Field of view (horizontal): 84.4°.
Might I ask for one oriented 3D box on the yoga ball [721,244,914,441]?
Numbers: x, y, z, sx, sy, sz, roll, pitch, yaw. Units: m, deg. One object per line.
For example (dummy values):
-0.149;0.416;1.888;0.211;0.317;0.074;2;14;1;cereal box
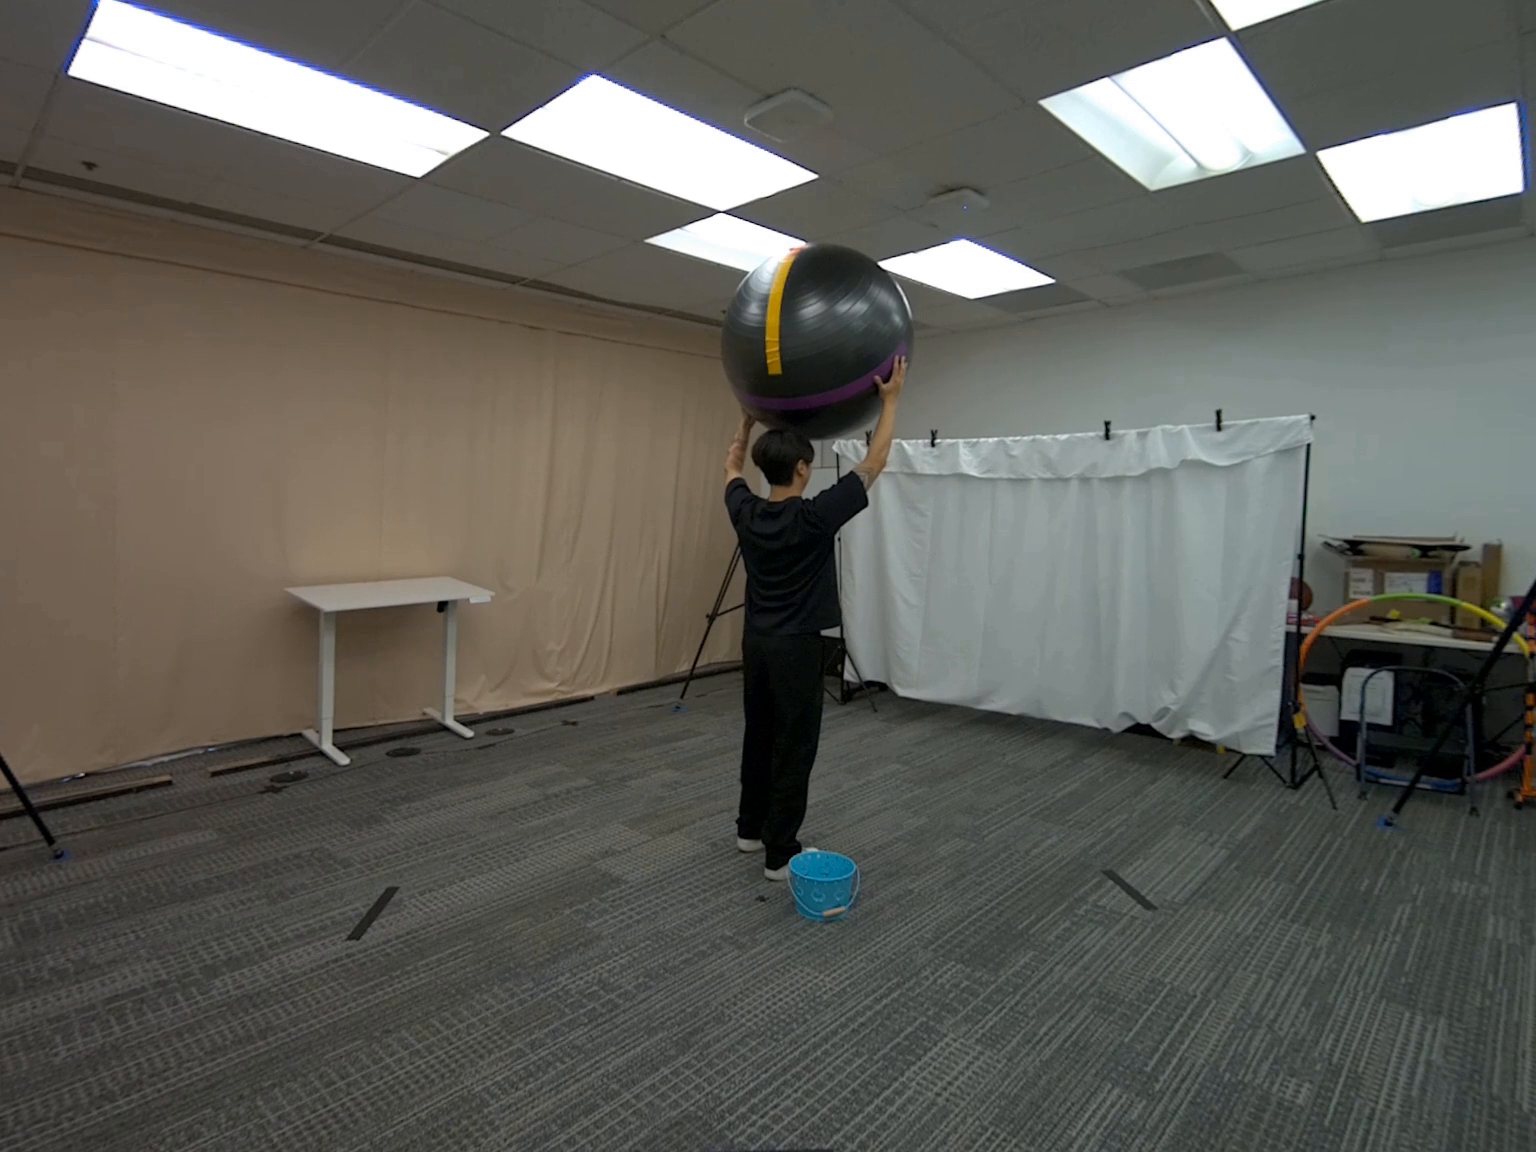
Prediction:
0.195;-0.916;3.342;0.757;0.756;0.760;0;4;-2;yoga ball
